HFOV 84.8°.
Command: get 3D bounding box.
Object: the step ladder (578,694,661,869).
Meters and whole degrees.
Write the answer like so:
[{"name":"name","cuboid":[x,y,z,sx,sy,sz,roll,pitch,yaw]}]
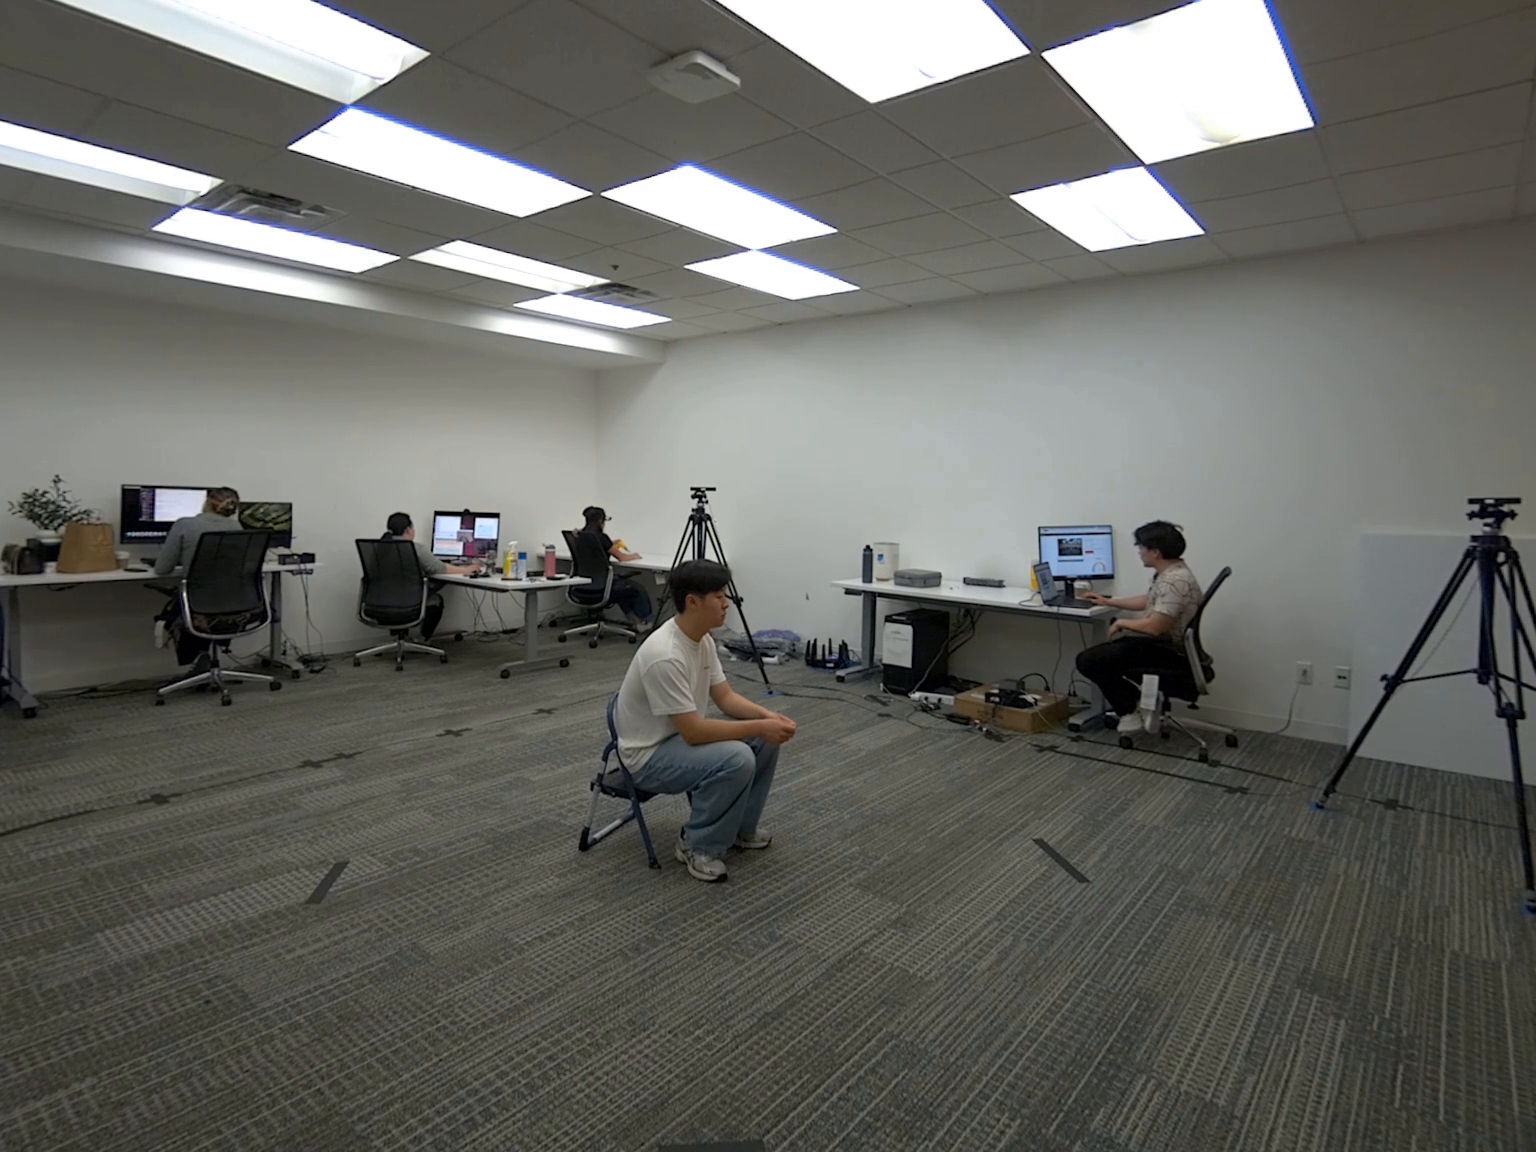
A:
[{"name":"step ladder","cuboid":[-0.502,0.739,3.348,0.357,0.605,0.421,2,3,22]}]
